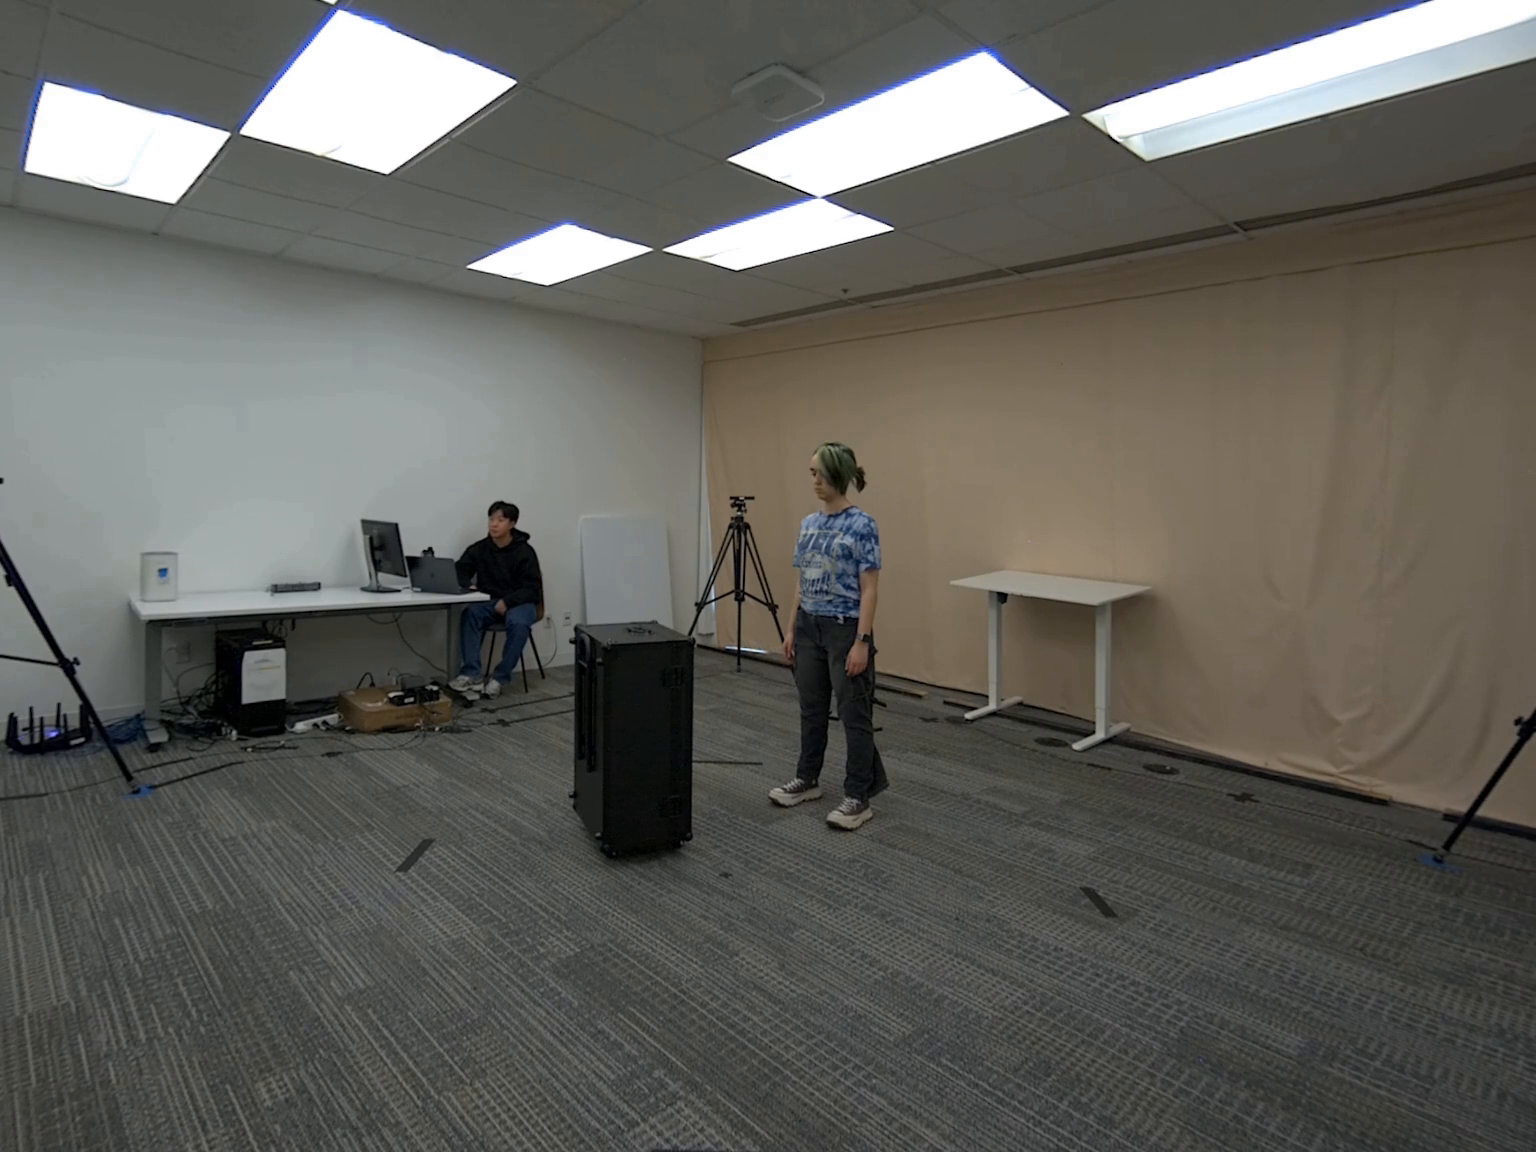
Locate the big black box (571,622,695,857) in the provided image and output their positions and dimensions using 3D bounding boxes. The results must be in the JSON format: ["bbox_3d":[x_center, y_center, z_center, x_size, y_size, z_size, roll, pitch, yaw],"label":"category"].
[{"bbox_3d":[-0.562,0.646,3.360,0.389,0.859,0.532,-2,4,-25],"label":"big black box"}]
